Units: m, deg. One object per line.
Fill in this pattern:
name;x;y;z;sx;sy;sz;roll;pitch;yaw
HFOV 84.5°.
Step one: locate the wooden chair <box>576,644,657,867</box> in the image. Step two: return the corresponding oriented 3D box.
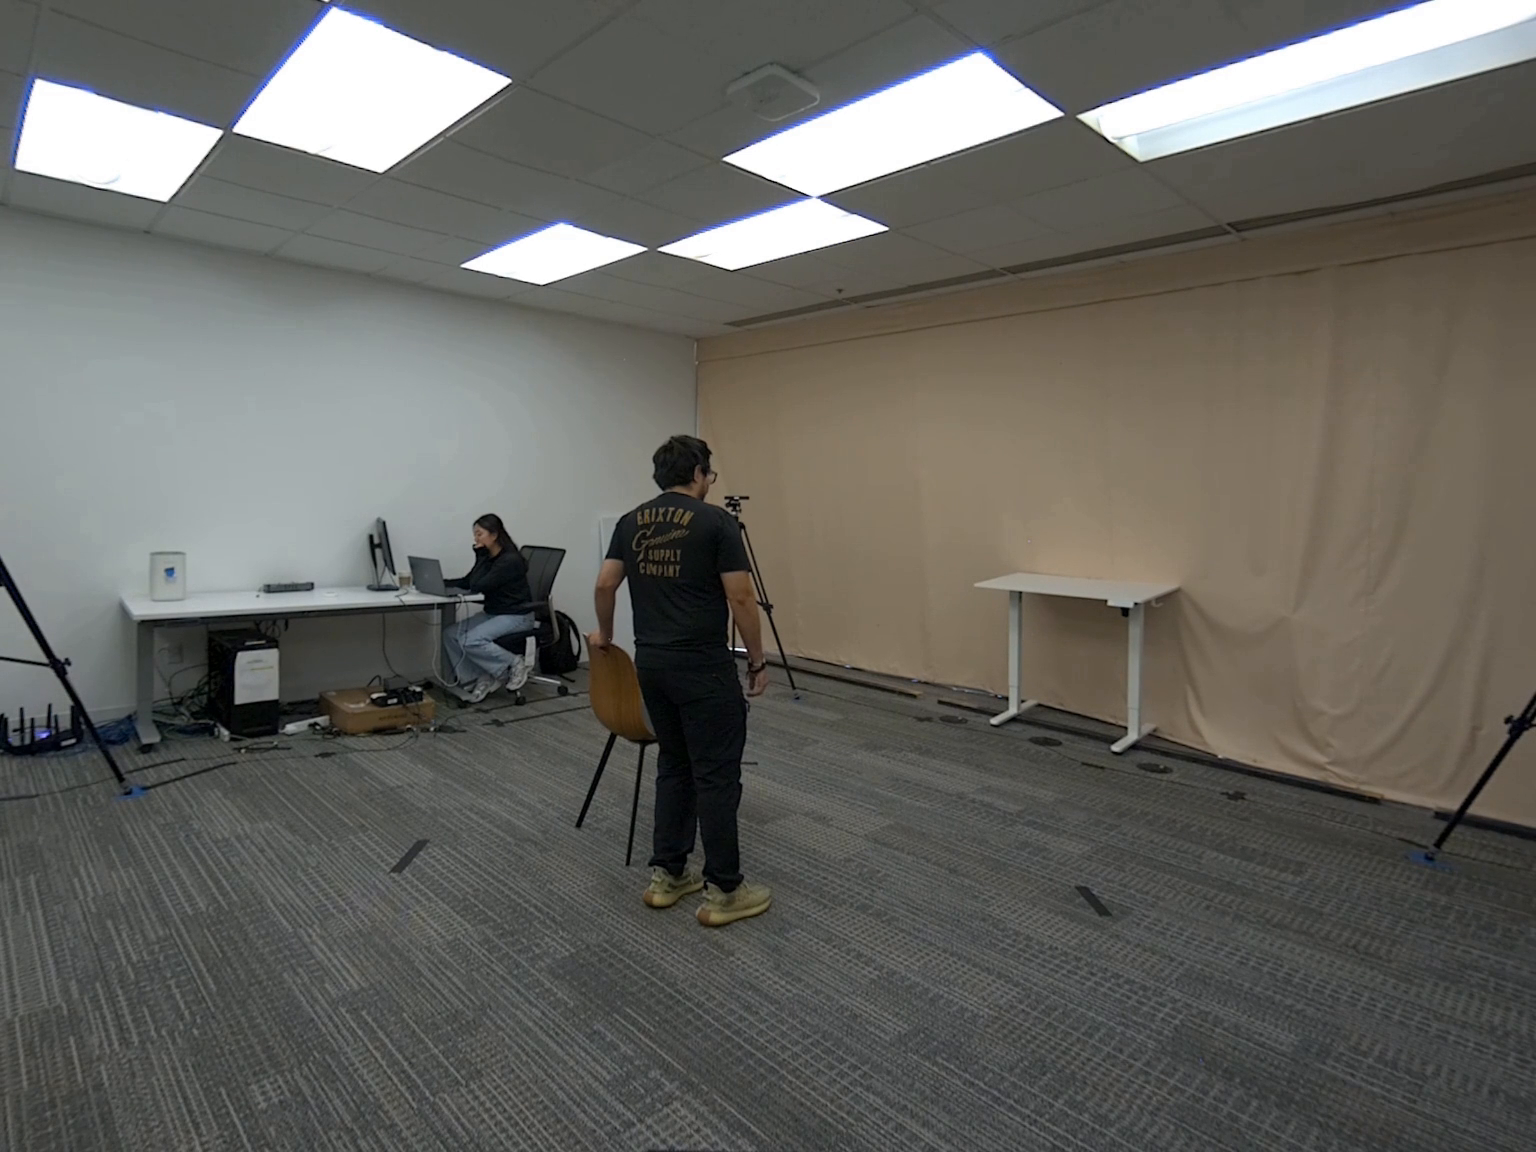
wooden chair;-0.478;0.640;3.447;0.512;0.873;0.490;-6;8;-37
